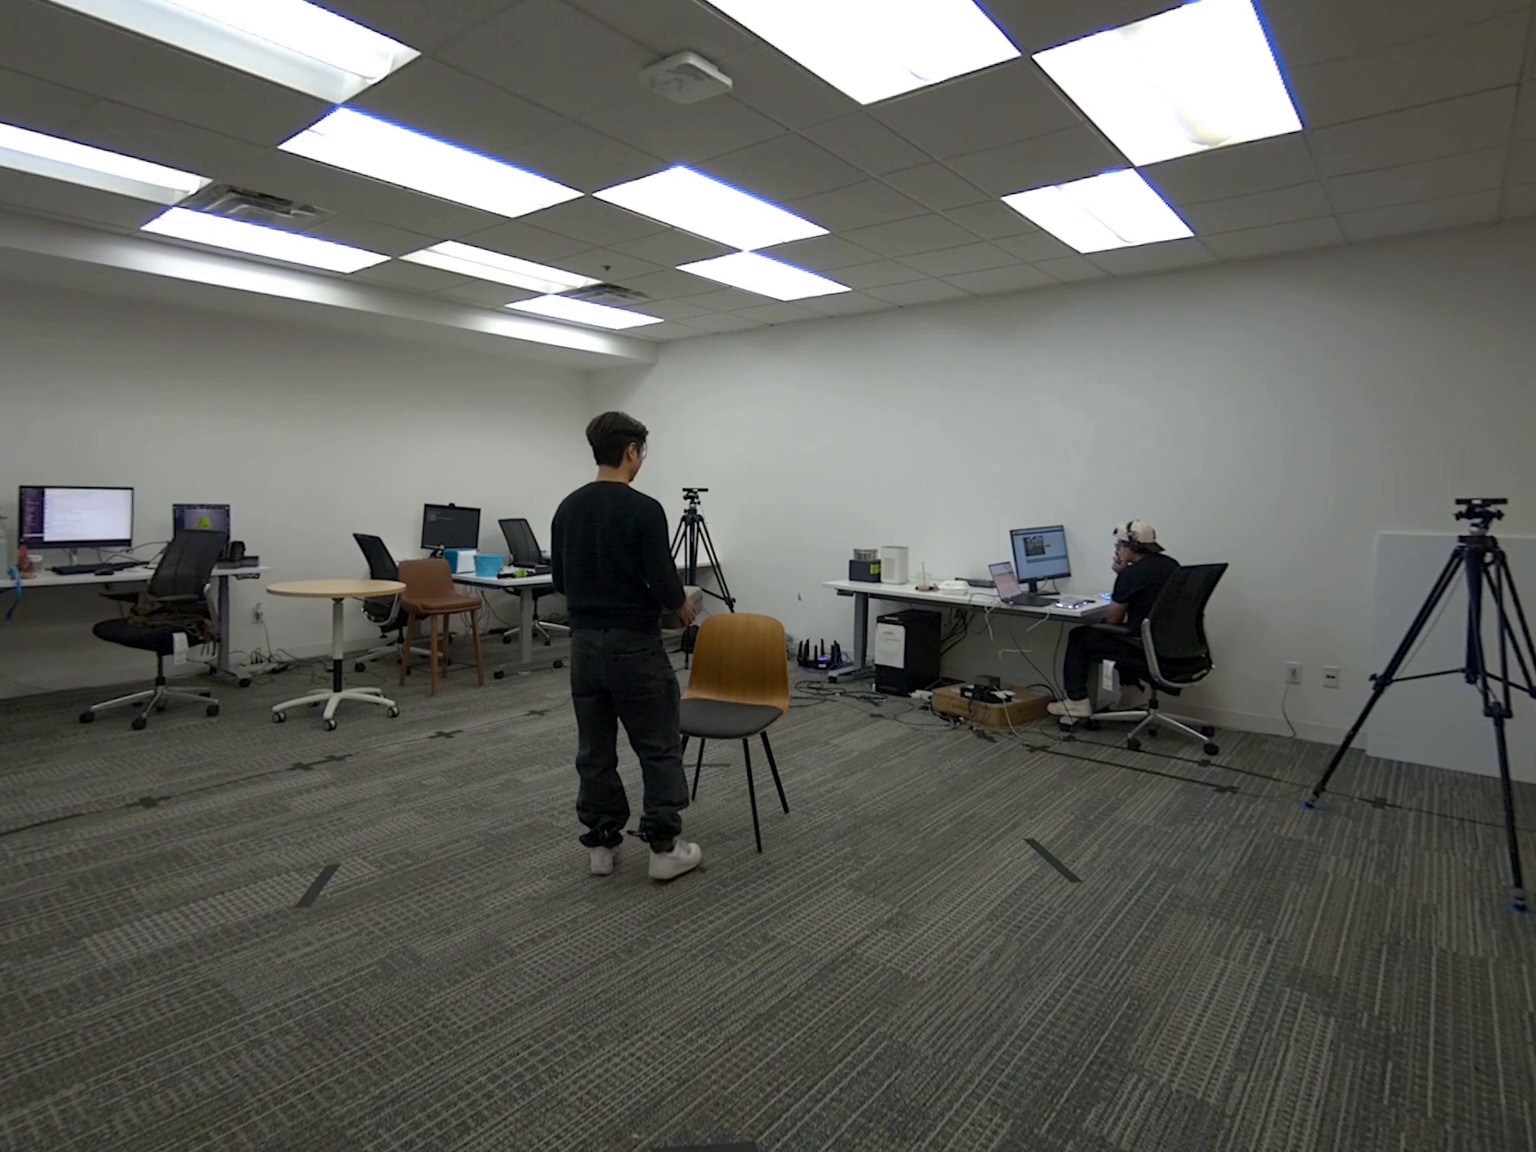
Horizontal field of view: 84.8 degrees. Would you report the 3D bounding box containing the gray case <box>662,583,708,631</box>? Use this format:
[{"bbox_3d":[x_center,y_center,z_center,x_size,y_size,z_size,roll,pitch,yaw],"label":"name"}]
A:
[{"bbox_3d":[-0.418,0.115,3.345,0.263,0.103,0.258,0,17,23],"label":"gray case"}]
